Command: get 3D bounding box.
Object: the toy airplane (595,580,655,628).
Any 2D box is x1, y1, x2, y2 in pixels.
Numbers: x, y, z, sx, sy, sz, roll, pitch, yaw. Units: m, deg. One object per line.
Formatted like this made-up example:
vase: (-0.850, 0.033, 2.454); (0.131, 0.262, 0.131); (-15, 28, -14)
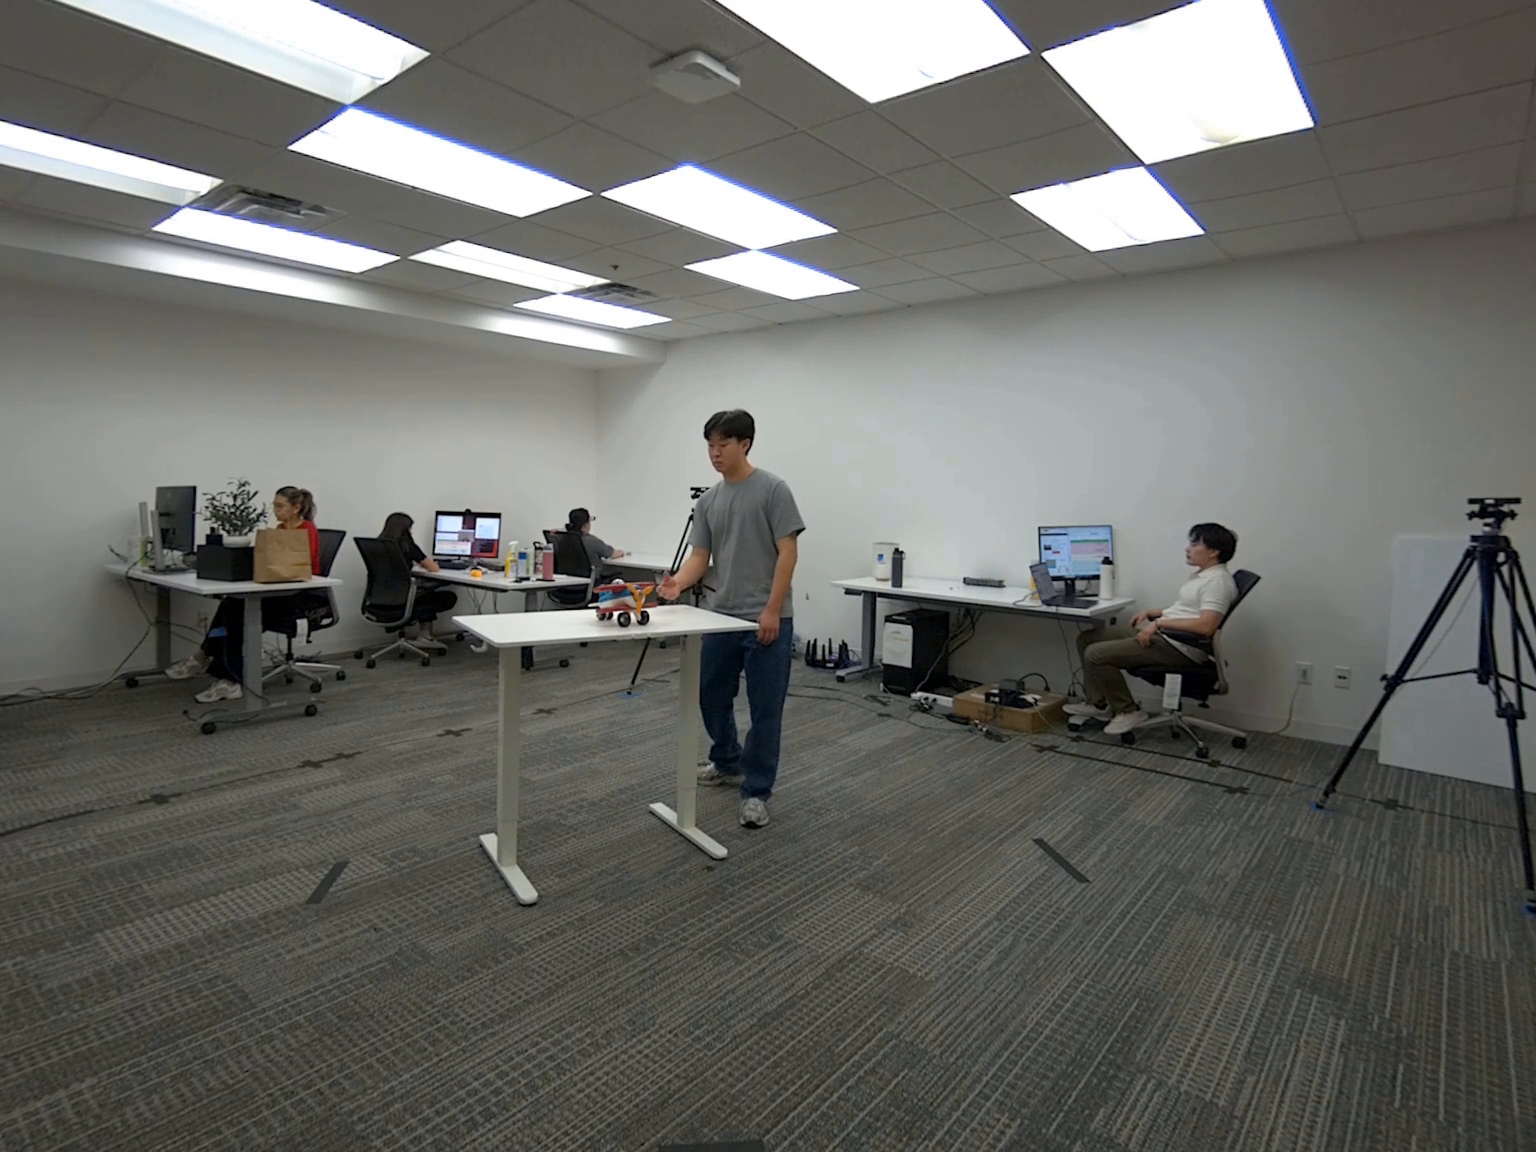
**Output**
toy airplane: (-0.571, 0.095, 3.152); (0.264, 0.156, 0.247); (4, 4, 17)
